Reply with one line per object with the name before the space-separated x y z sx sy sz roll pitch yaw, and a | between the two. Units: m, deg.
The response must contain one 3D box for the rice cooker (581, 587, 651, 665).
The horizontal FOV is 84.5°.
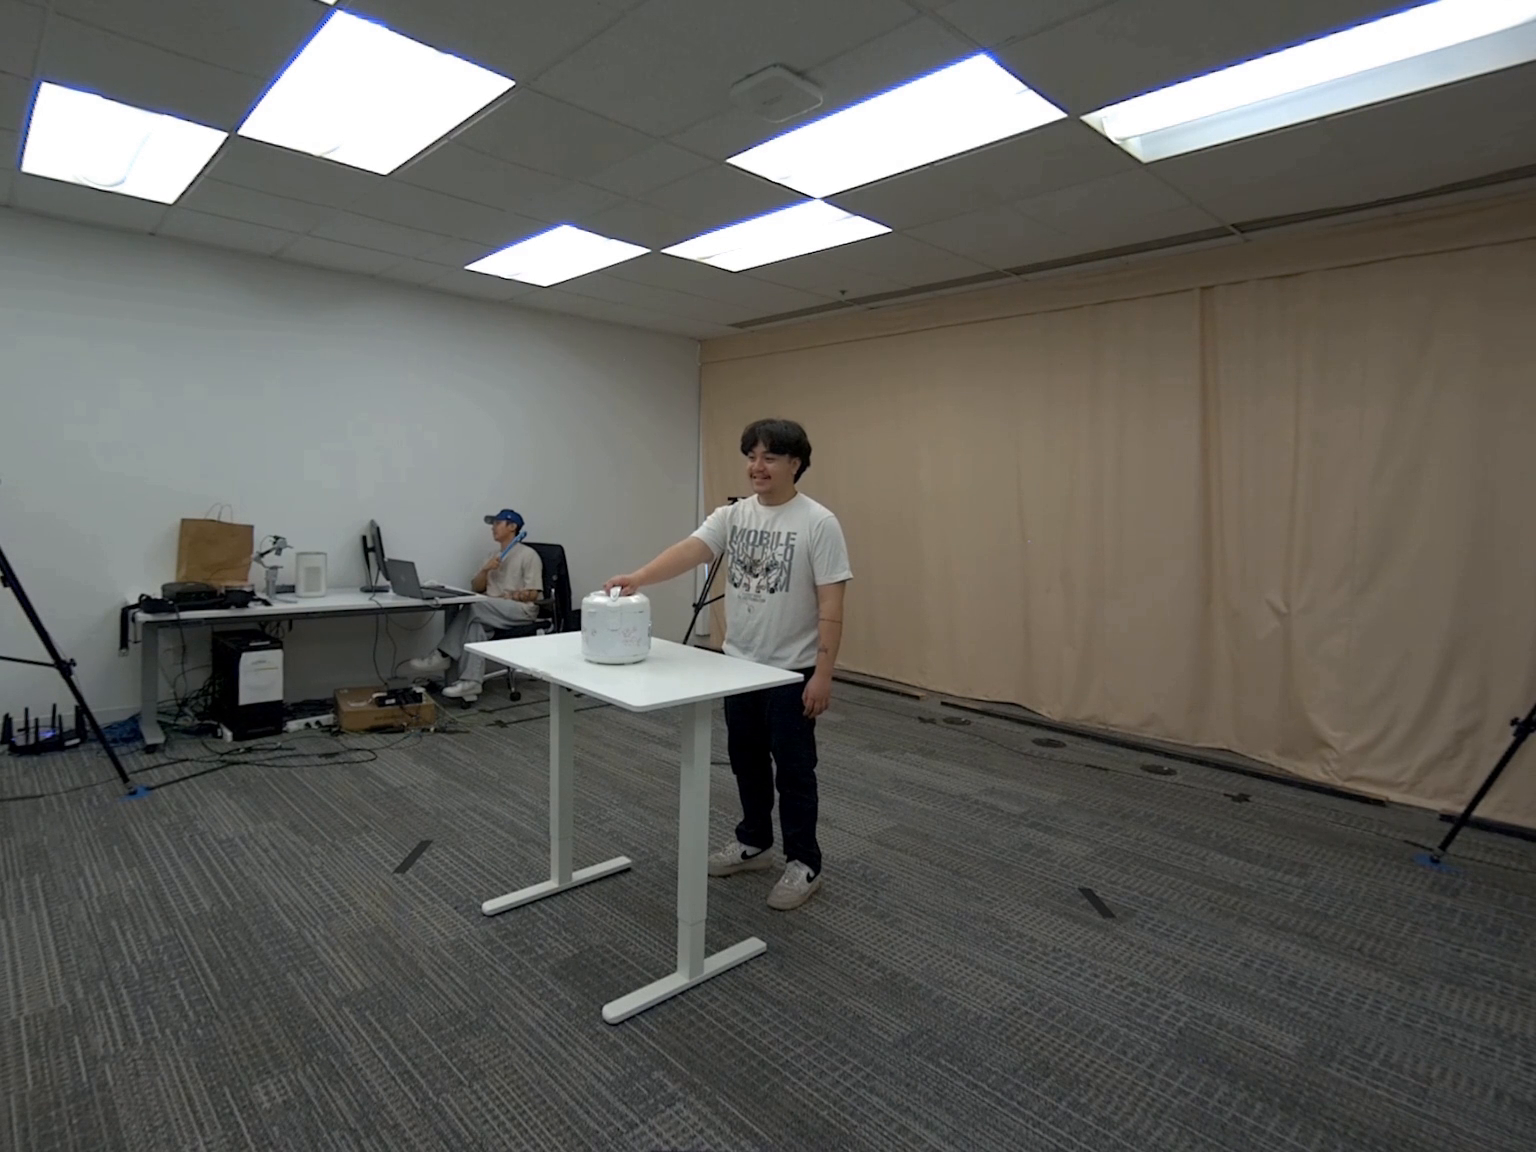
rice cooker | -0.480 0.148 2.610 0.217 0.232 0.222 1 5 -3
